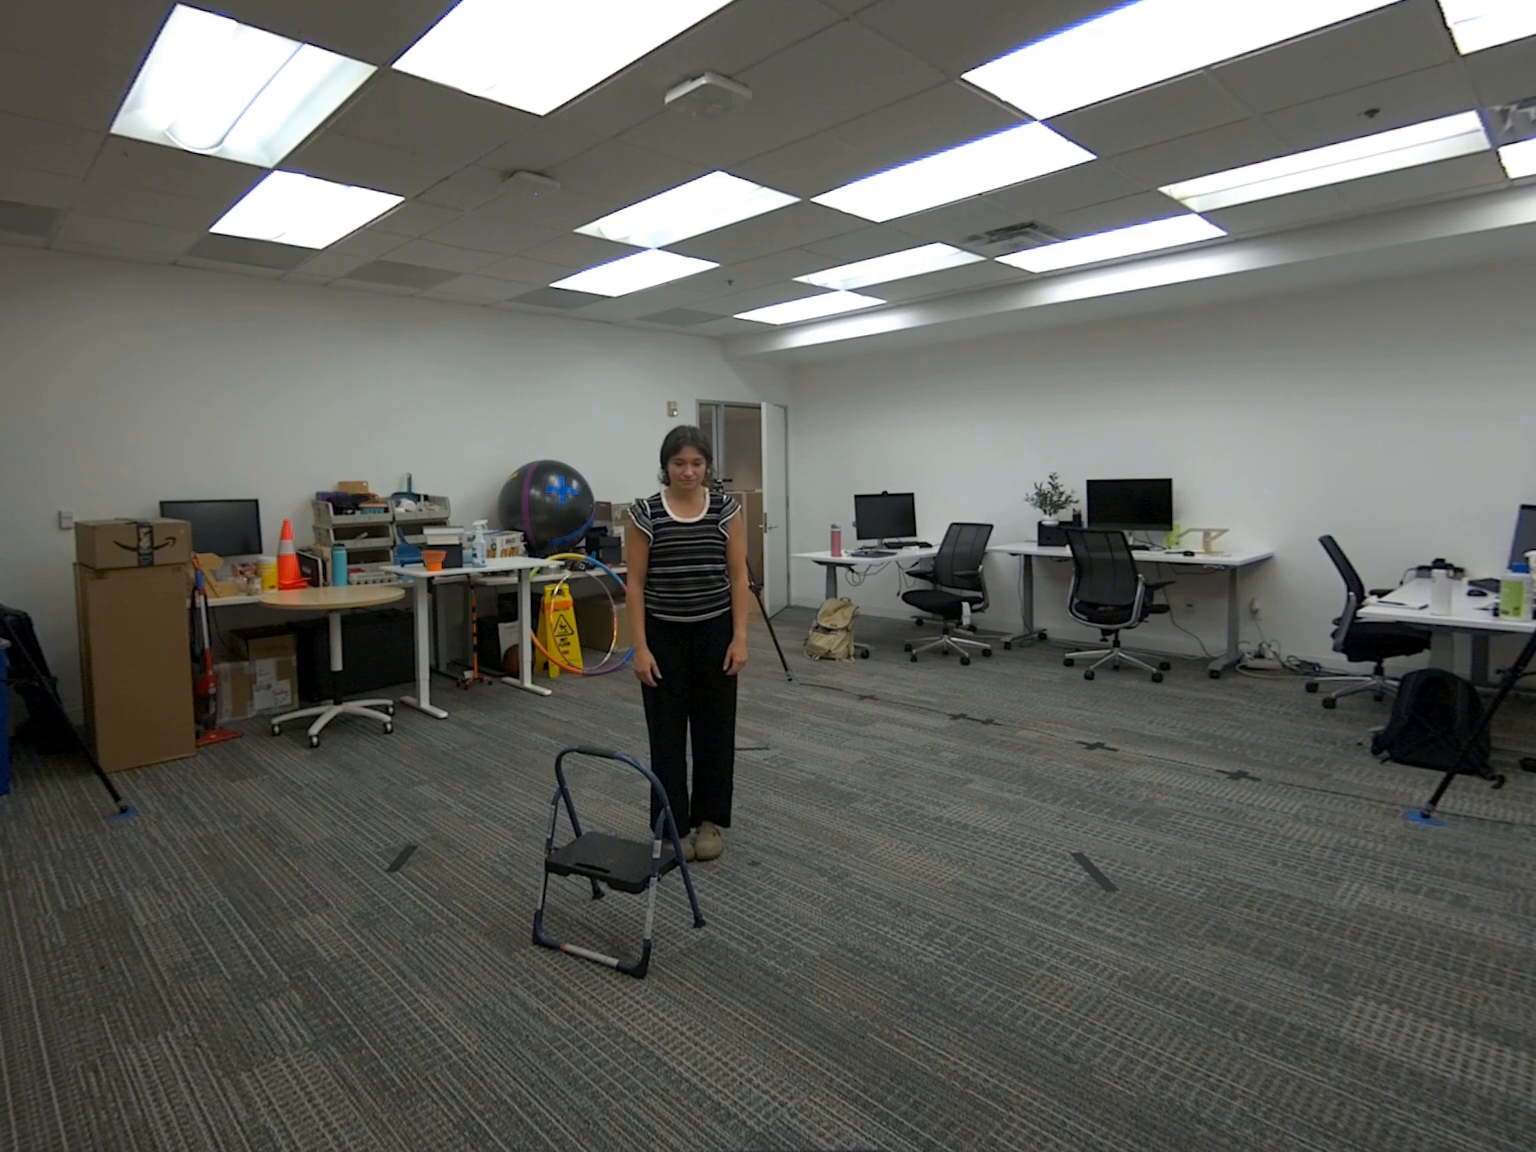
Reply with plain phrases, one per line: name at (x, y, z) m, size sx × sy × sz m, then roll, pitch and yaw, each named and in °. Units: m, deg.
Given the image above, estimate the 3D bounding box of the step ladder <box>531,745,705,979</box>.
step ladder at (-0.467, 0.809, 2.625) m, size 0.441 × 0.603 × 0.342 m, roll 1°, pitch 5°, yaw 27°
